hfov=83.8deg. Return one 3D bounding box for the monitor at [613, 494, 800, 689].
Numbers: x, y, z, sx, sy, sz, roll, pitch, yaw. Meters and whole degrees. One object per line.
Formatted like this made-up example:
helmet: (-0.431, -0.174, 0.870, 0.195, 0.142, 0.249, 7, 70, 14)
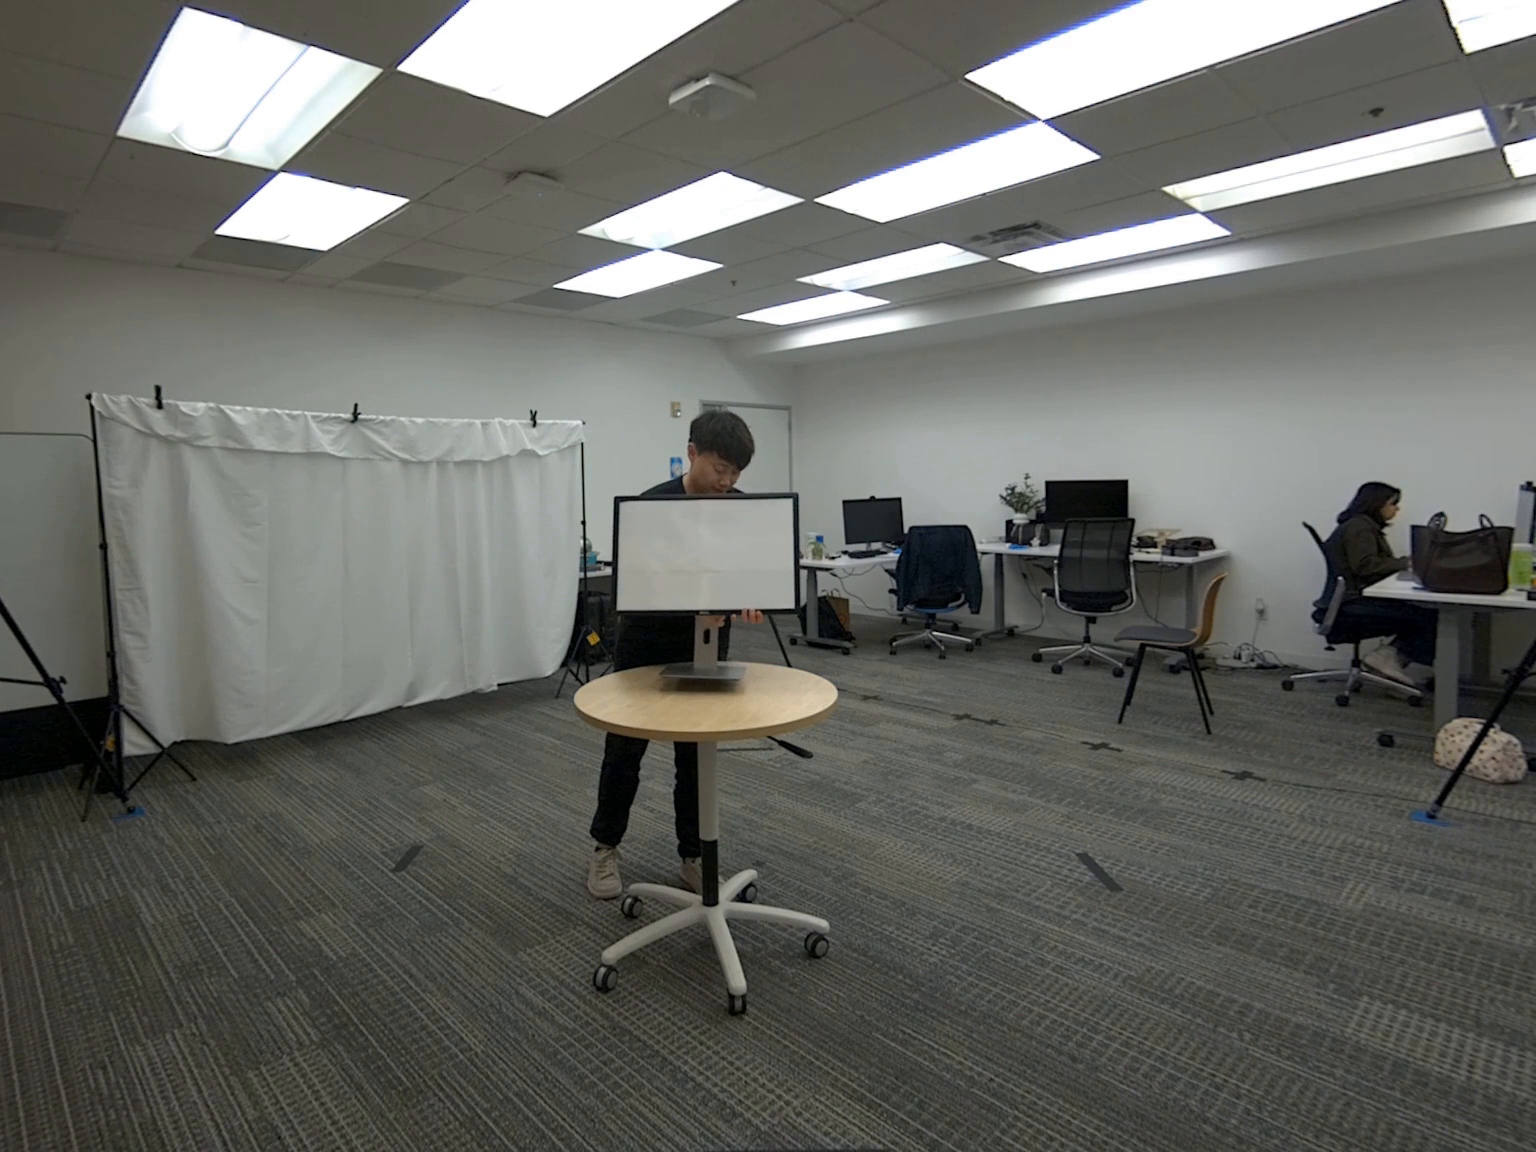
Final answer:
monitor: (-0.186, 0.040, 2.570, 0.540, 0.522, 0.187, 0, 0, 2)
